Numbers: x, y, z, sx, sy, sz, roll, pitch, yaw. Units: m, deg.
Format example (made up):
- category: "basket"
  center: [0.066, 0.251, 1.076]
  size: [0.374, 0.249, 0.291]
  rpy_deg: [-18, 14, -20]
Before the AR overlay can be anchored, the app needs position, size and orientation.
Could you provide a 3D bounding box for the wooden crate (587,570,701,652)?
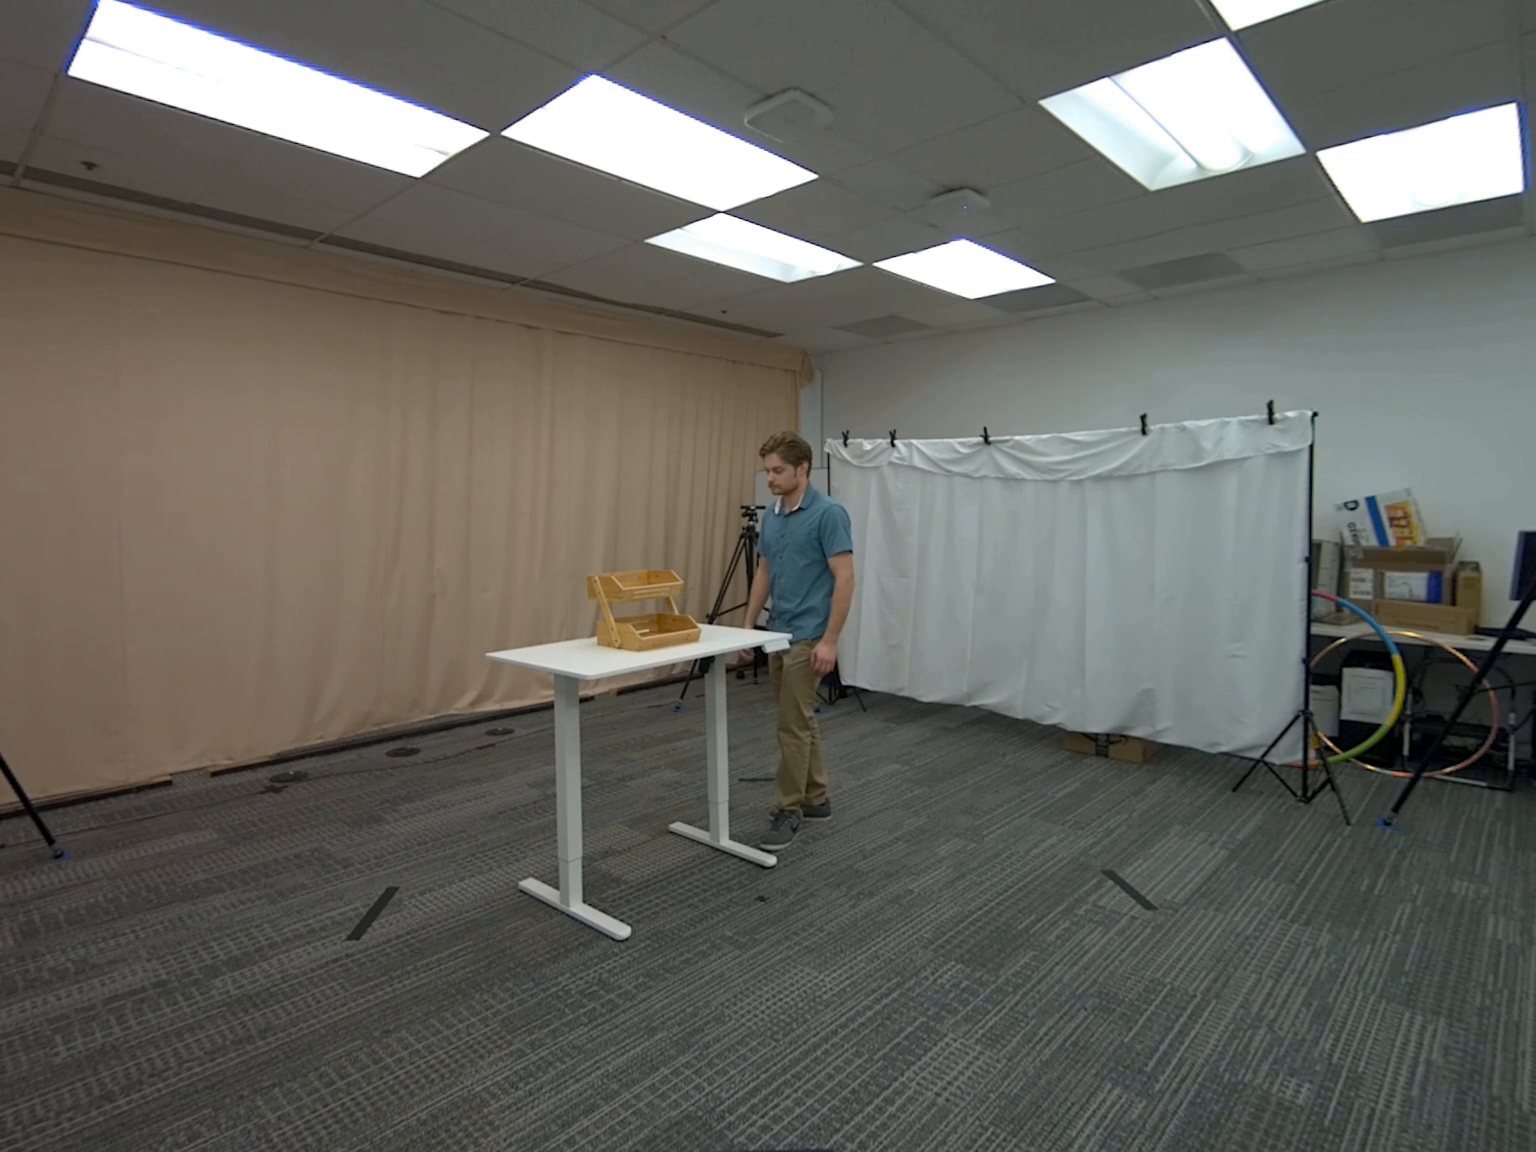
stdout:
- category: "wooden crate"
  center: [-0.458, 0.118, 3.151]
  size: [0.312, 0.273, 0.314]
  rpy_deg: [2, 5, 43]
